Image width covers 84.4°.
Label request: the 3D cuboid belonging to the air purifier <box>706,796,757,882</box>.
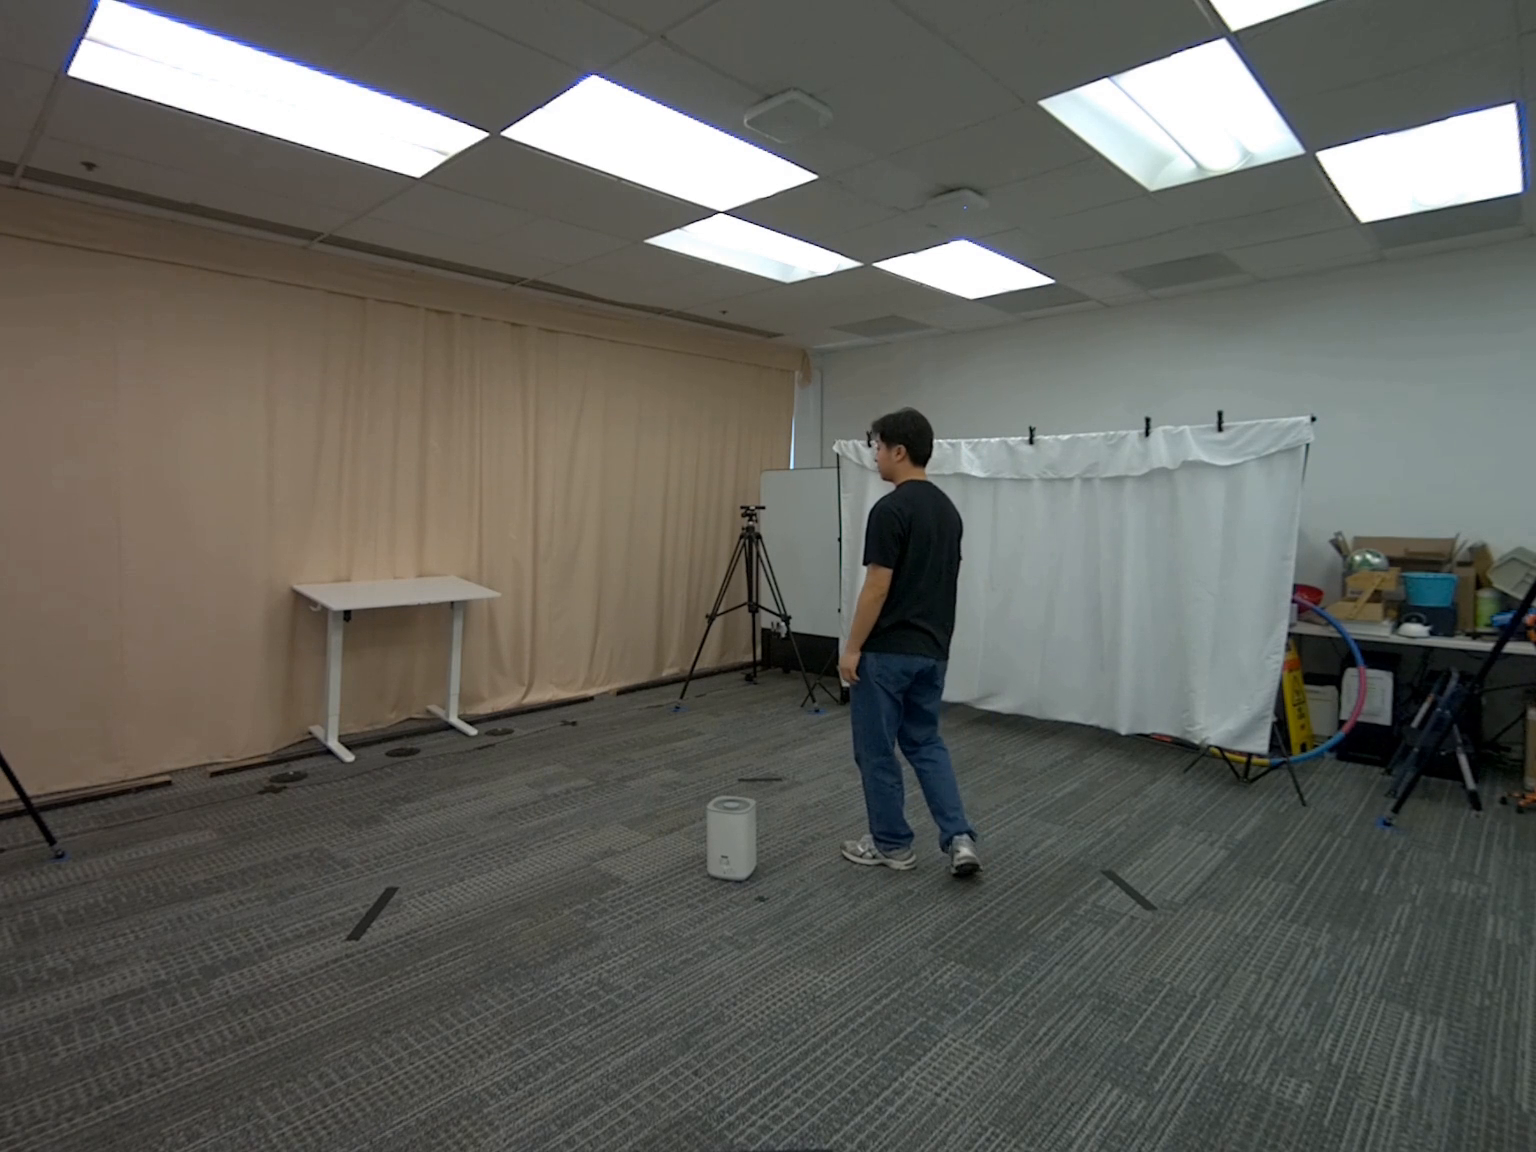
[{"bbox_3d":[-0.135,0.992,3.190,0.174,0.265,0.168,1,3,18],"label":"air purifier"}]
